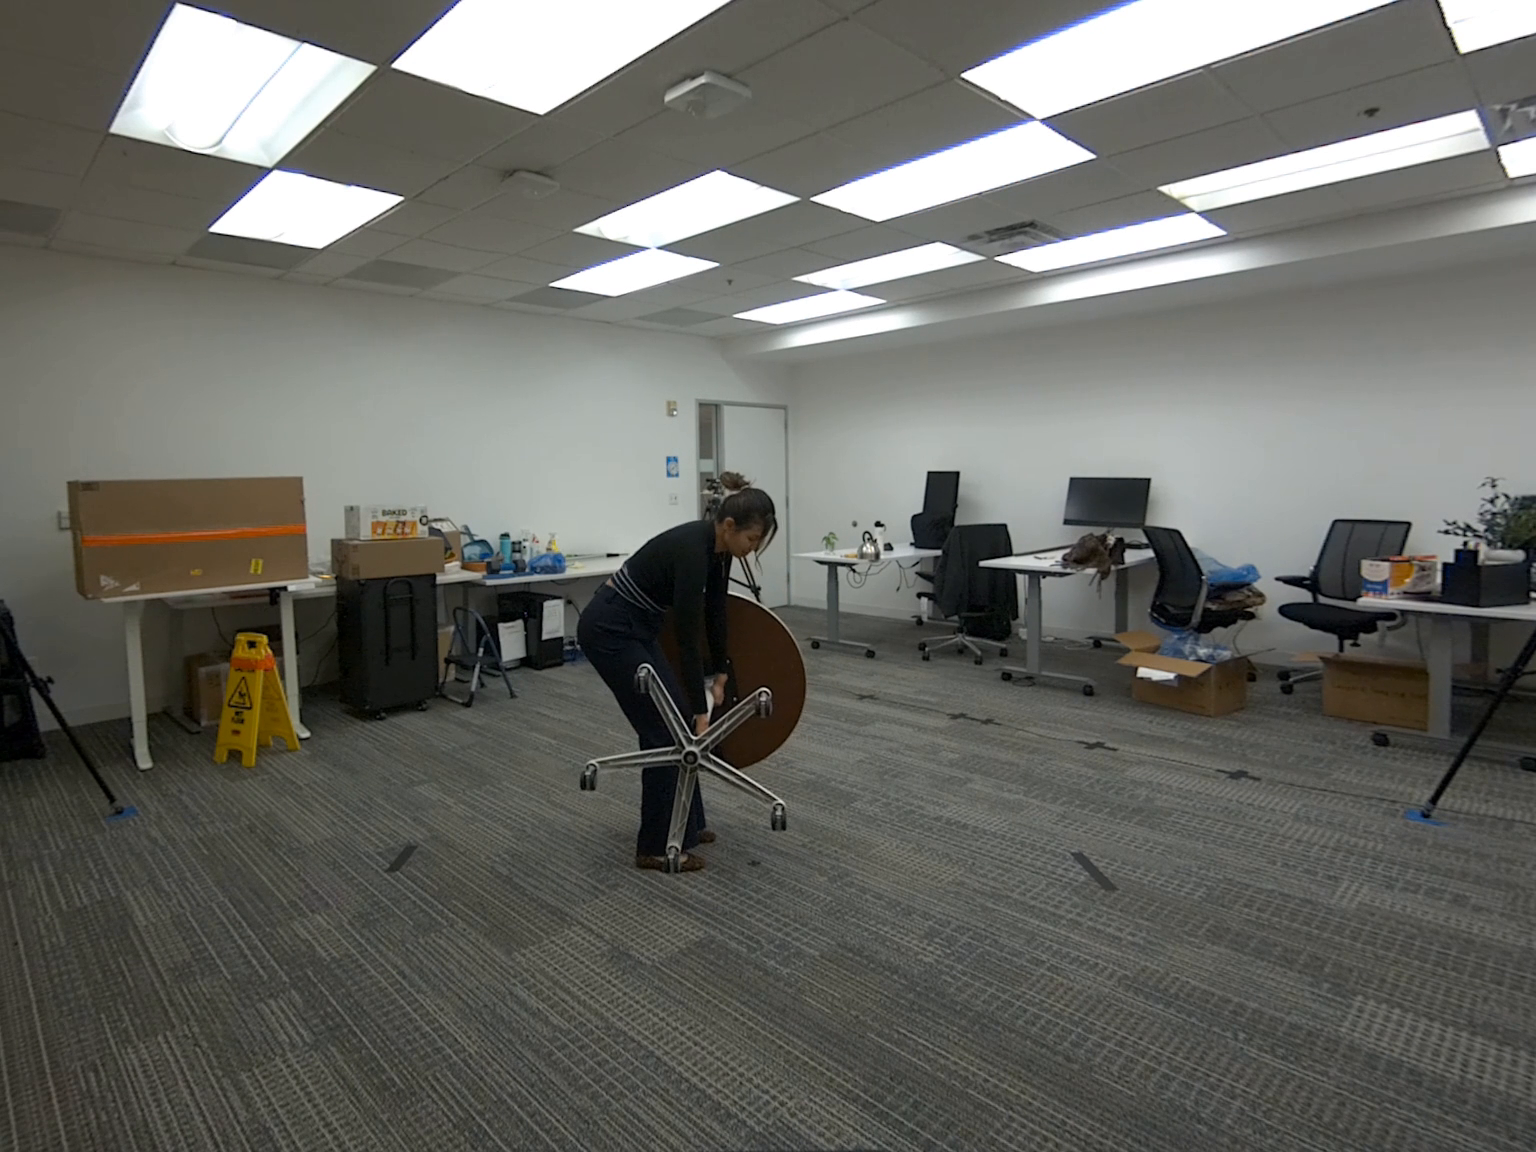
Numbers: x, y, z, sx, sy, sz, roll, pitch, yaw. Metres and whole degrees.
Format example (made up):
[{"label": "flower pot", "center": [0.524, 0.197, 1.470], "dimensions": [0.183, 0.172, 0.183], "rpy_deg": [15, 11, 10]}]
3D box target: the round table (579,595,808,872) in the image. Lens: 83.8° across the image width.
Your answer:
[{"label": "round table", "center": [-0.238, 0.527, 3.083], "dimensions": [0.767, 0.756, 0.800], "rpy_deg": [-1, 12, 3]}]
